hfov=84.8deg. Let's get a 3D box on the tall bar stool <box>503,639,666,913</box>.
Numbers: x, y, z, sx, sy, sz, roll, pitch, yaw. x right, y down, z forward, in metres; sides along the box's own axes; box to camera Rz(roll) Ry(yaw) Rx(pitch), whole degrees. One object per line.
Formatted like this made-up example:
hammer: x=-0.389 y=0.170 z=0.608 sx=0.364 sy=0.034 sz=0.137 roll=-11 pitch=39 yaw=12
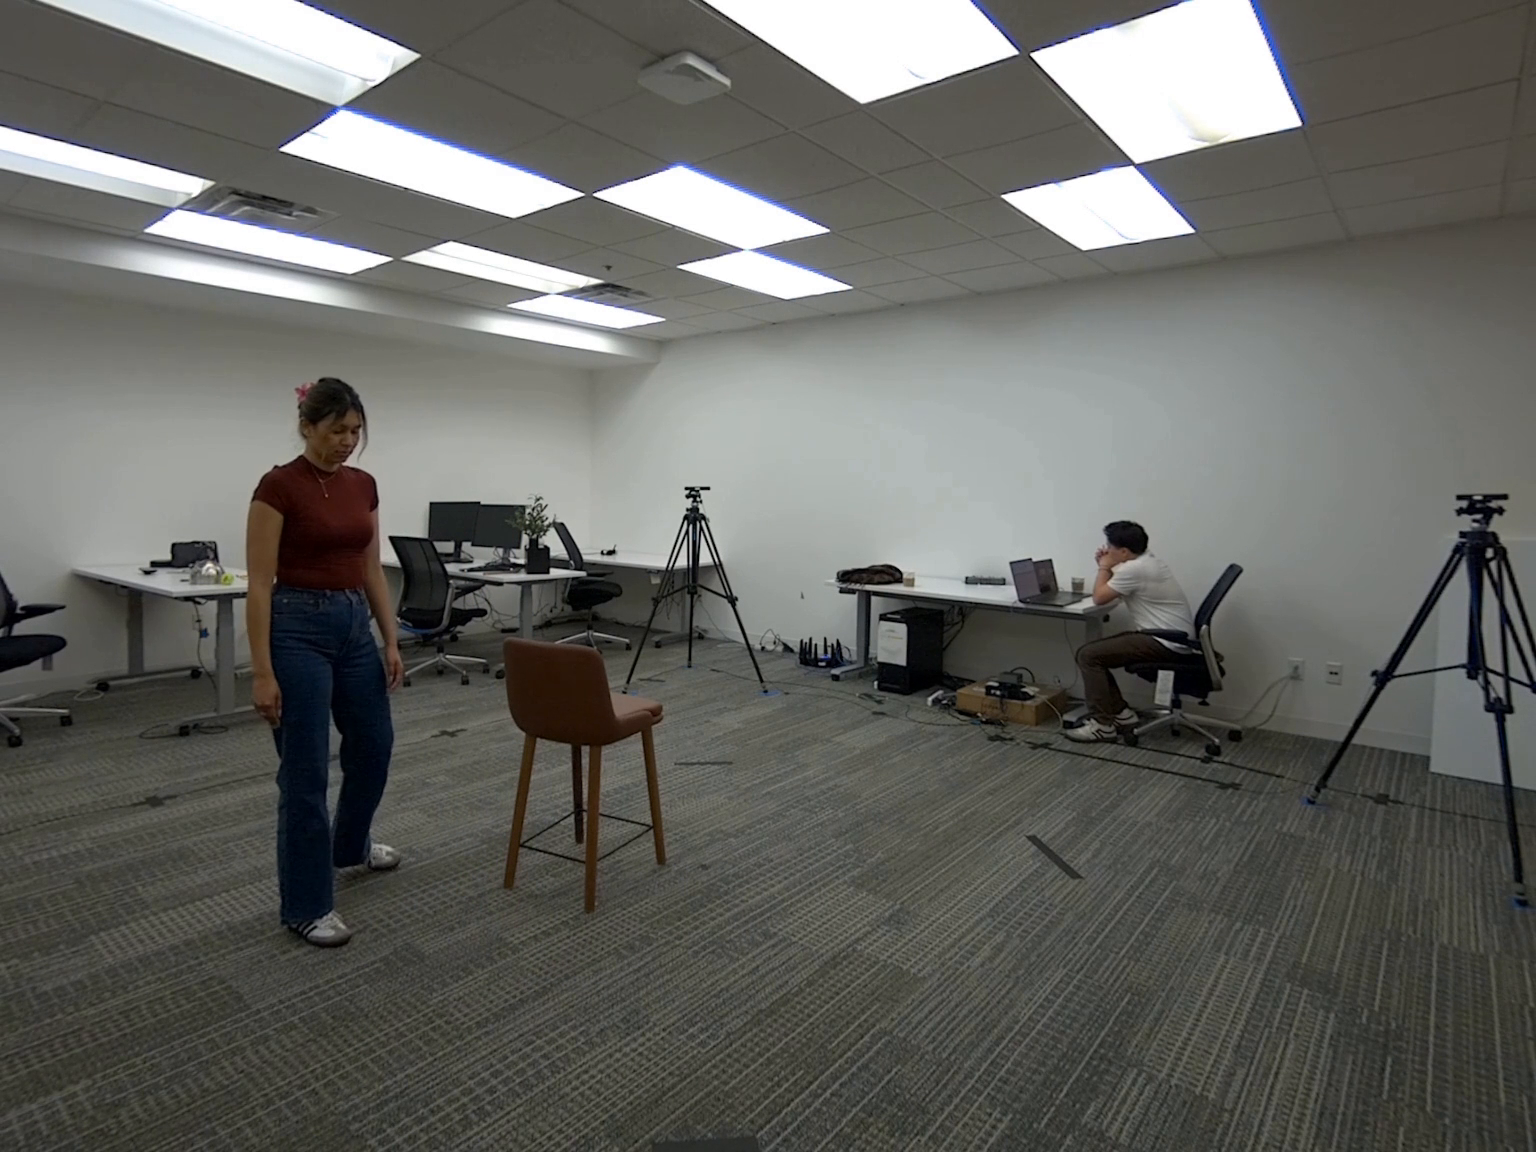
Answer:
tall bar stool: x=-0.666 y=0.633 z=3.021 sx=0.469 sy=0.886 sz=0.457 roll=2 pitch=5 yaw=27
